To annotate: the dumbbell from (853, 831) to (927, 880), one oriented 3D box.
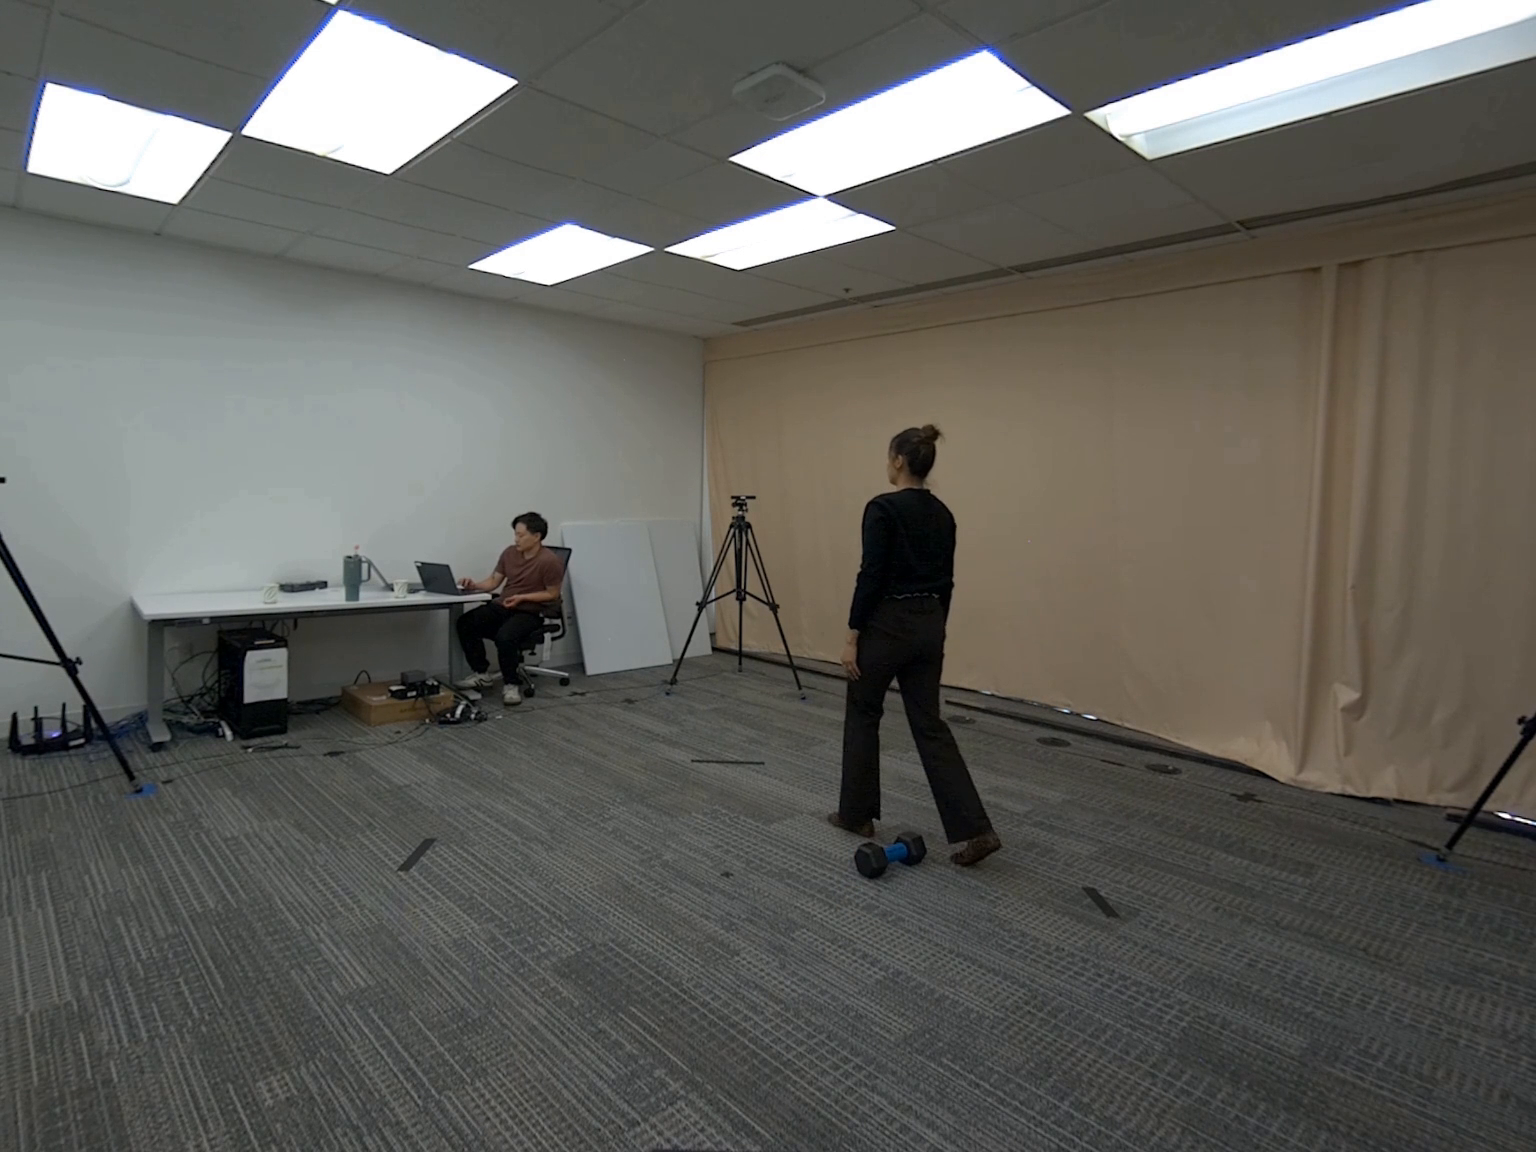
[{"bbox_3d":[0.457,1.055,3.189,0.287,0.122,0.112,-2,36,-37],"label":"dumbbell"}]
